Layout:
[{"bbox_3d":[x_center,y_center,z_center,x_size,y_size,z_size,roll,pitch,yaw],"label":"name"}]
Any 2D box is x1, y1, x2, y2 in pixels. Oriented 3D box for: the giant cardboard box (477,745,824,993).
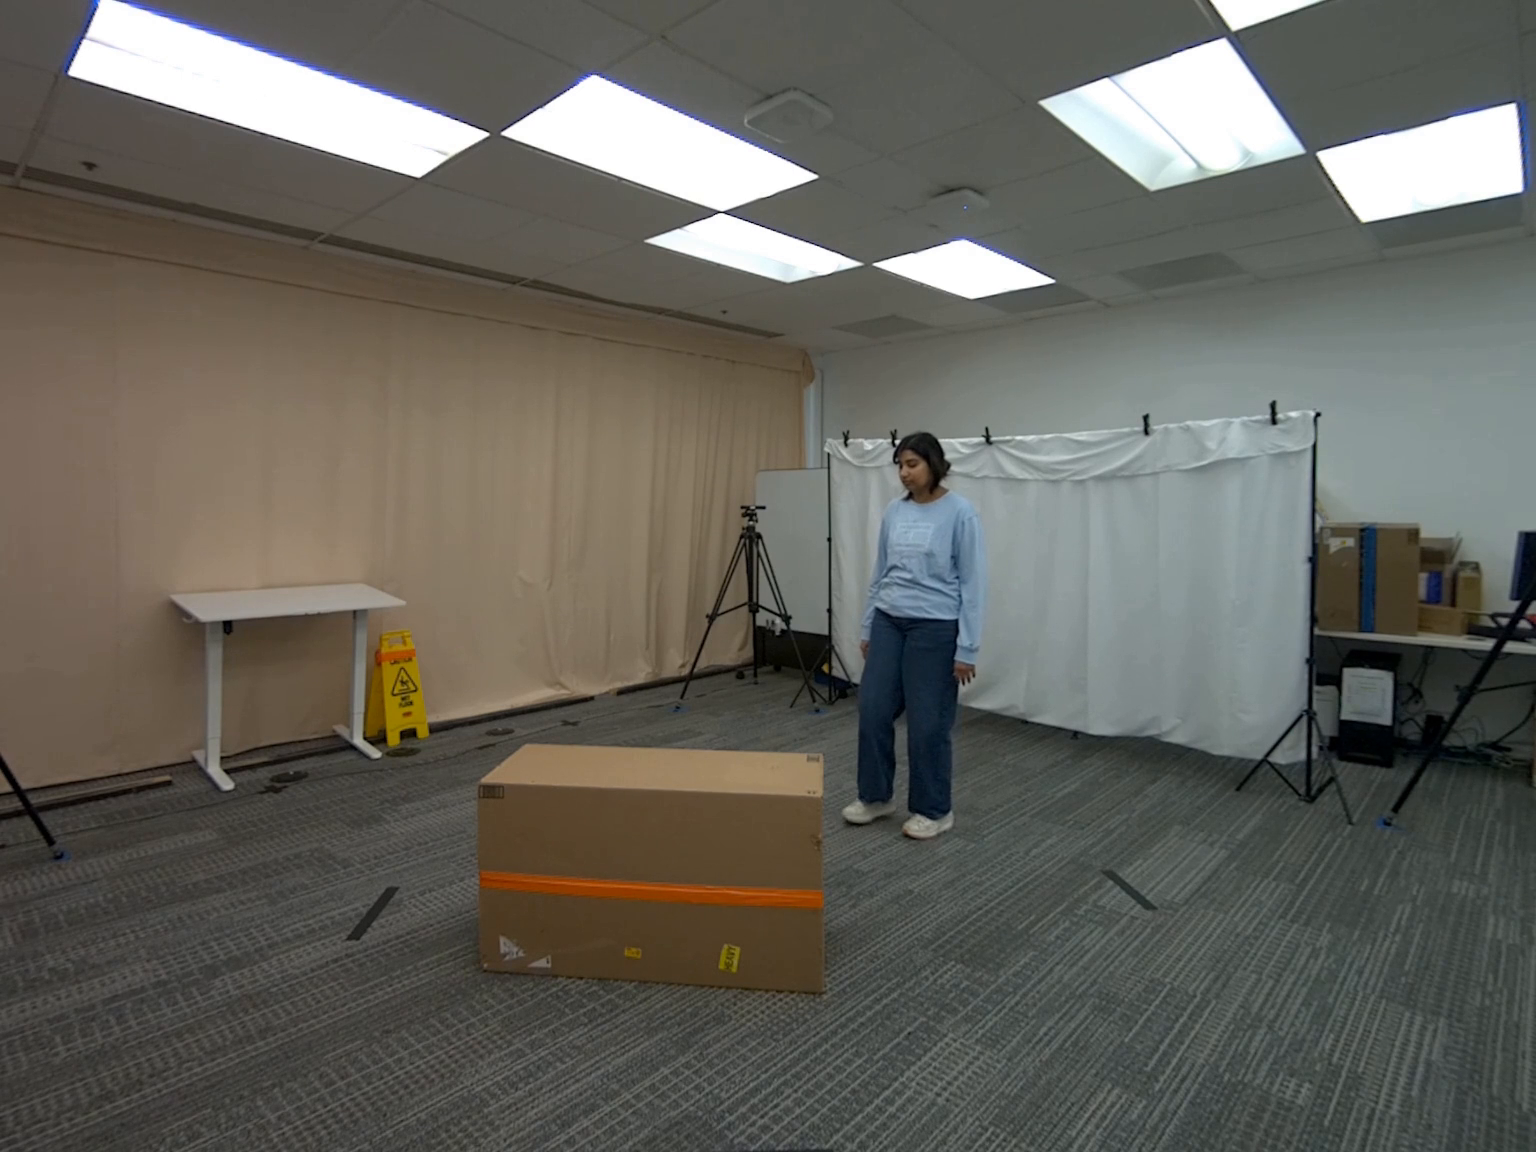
[{"bbox_3d":[-0.339,0.882,2.648,1.034,0.576,0.424,1,4,7],"label":"giant cardboard box"}]
